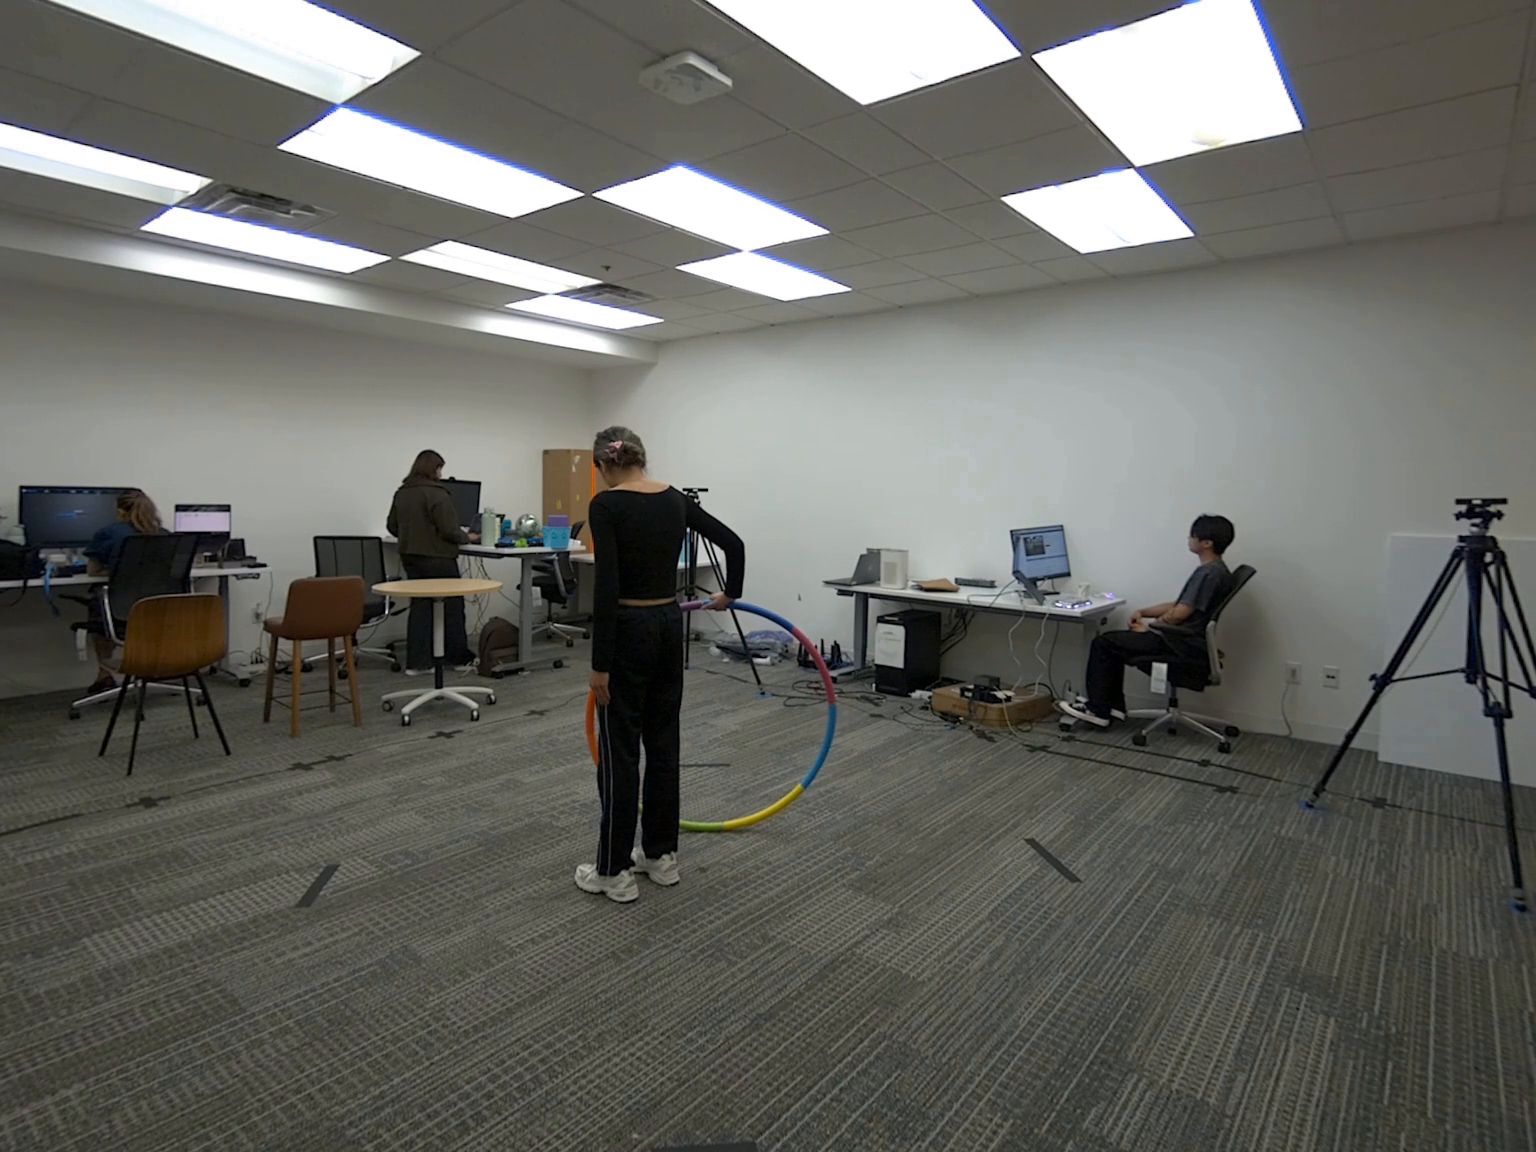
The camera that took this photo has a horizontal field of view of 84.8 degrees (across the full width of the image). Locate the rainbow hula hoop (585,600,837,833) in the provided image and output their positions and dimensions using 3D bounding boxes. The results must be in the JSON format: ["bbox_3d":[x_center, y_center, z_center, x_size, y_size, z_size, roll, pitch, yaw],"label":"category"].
[{"bbox_3d":[-0.224,0.561,3.392,0.972,0.970,0.036,1,9,-6],"label":"rainbow hula hoop"}]
